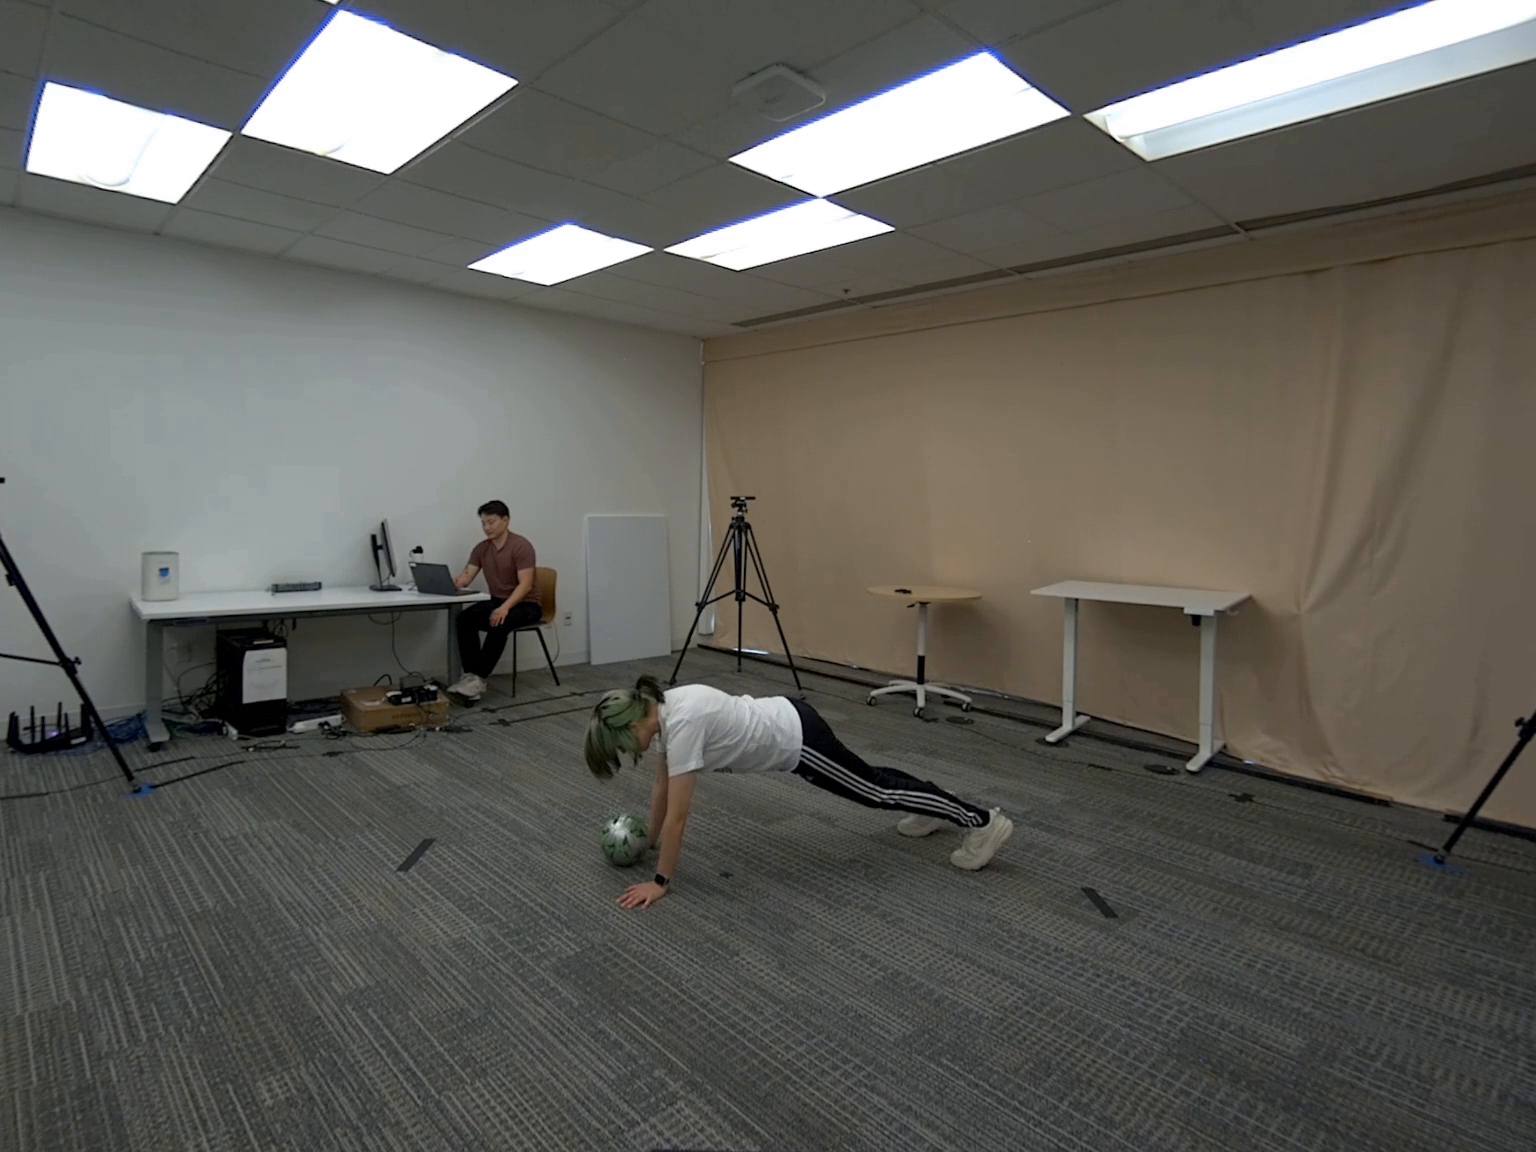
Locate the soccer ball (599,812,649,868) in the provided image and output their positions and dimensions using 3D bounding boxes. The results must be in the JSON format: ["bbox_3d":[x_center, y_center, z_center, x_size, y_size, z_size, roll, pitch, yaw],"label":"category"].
[{"bbox_3d":[-0.548,0.996,3.181,0.187,0.187,0.188,1,4,-1],"label":"soccer ball"}]
